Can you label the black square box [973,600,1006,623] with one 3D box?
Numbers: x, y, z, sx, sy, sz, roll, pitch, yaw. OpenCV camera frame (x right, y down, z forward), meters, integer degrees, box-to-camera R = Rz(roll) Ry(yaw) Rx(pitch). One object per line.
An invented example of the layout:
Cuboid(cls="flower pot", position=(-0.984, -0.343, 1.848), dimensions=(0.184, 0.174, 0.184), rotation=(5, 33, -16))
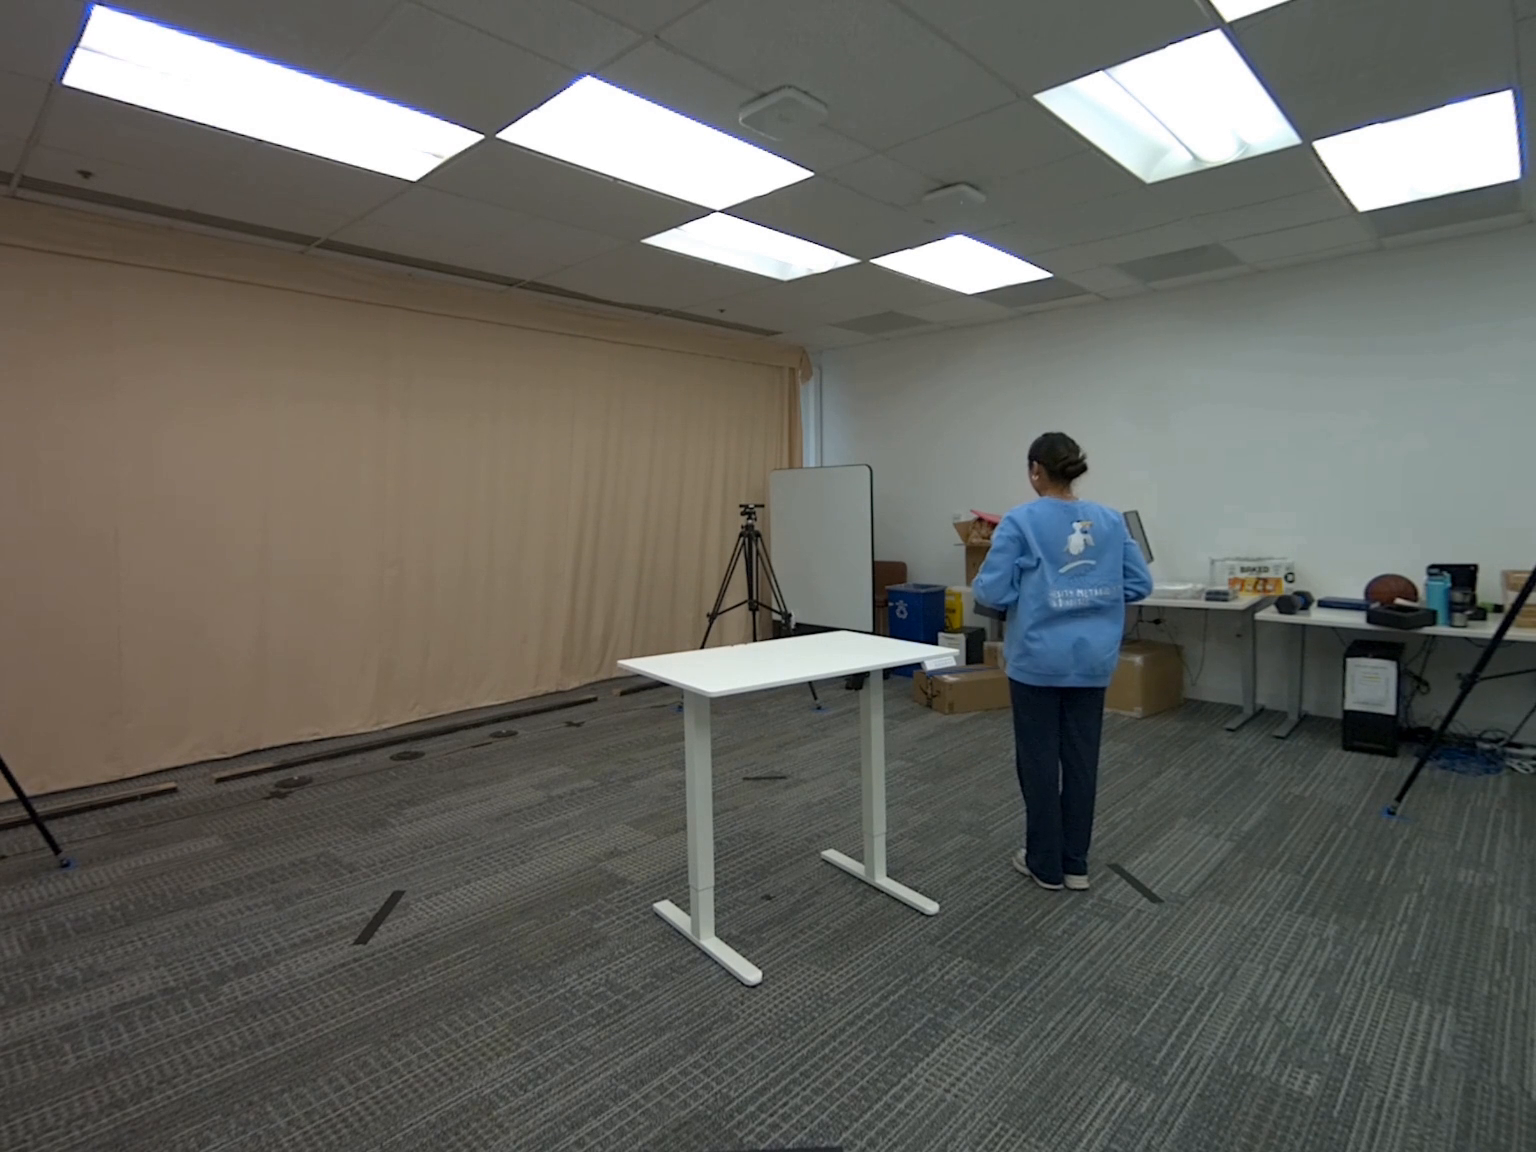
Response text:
Cuboid(cls="black square box", position=(0.988, 0.110, 3.295), dimensions=(0.225, 0.156, 0.219), rotation=(10, 2, -9))
